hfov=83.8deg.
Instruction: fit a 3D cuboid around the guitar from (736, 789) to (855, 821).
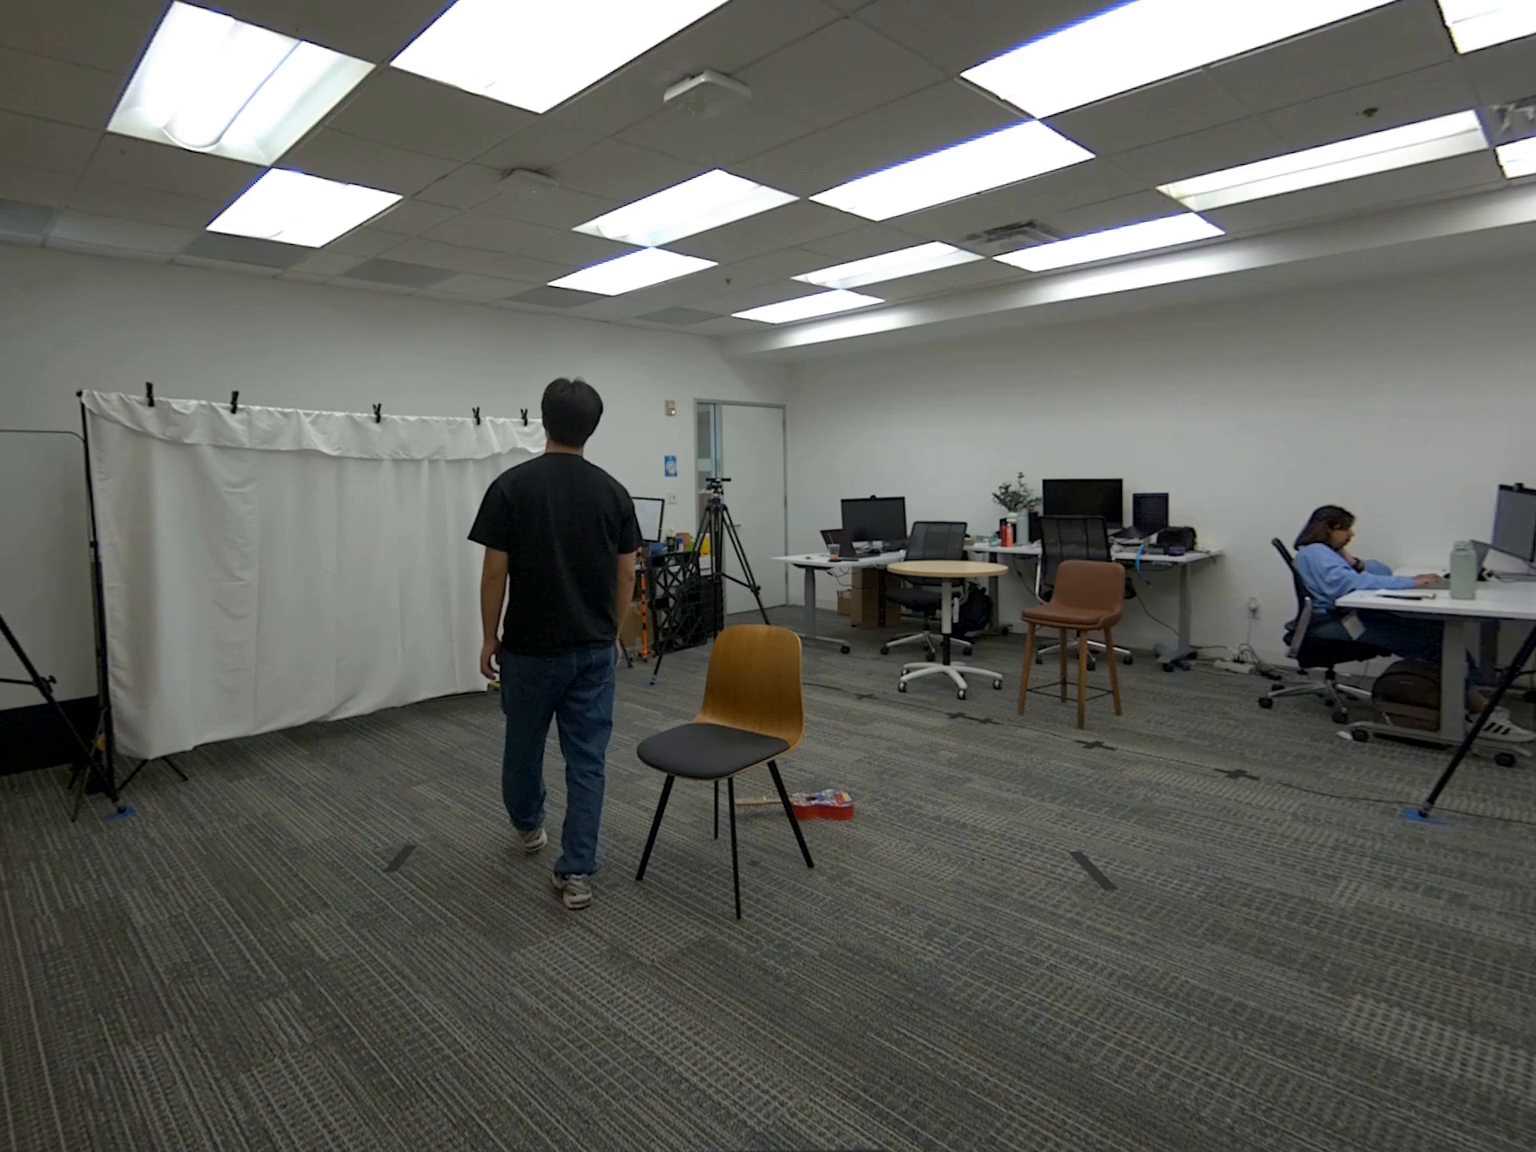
[{"bbox_3d":[0.110,0.951,3.583,0.500,0.070,0.193,0,7,4],"label":"guitar"}]
